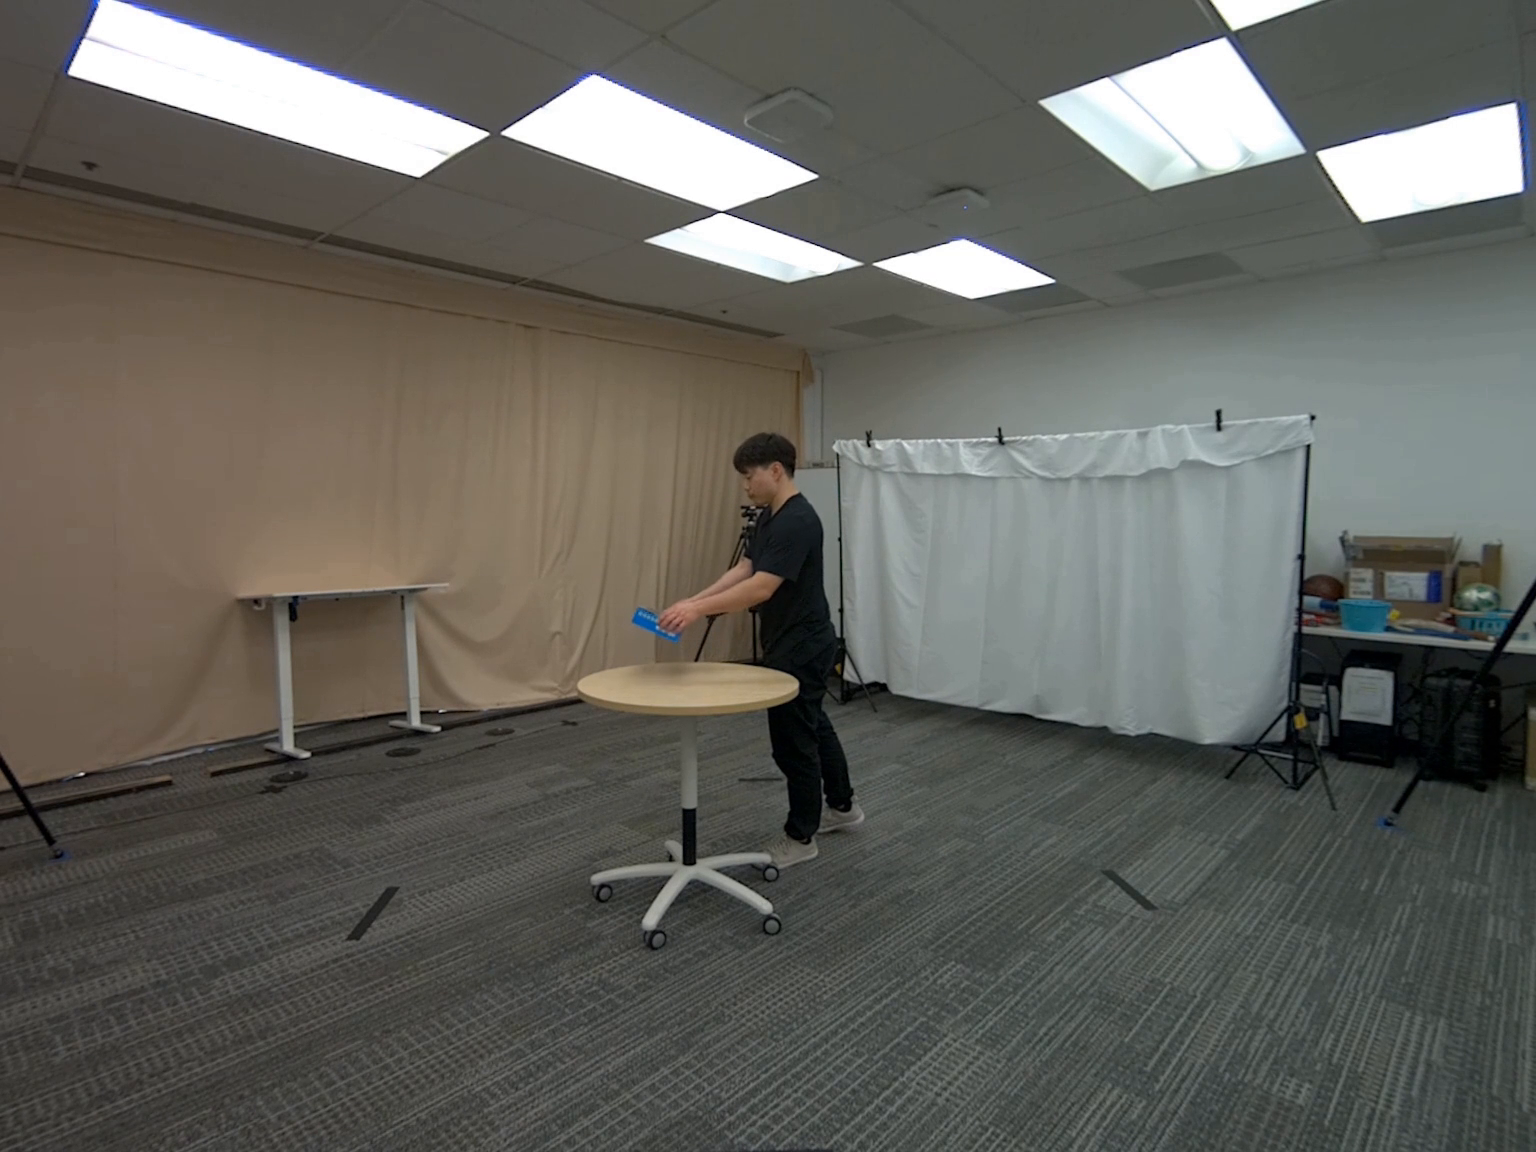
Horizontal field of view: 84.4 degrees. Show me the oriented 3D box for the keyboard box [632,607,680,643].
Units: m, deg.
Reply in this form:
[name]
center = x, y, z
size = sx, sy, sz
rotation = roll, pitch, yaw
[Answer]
[keyboard box]
center = -0.400, 0.177, 3.113
size = 0.176, 0.059, 0.437
rotation = 25, -3, -2
